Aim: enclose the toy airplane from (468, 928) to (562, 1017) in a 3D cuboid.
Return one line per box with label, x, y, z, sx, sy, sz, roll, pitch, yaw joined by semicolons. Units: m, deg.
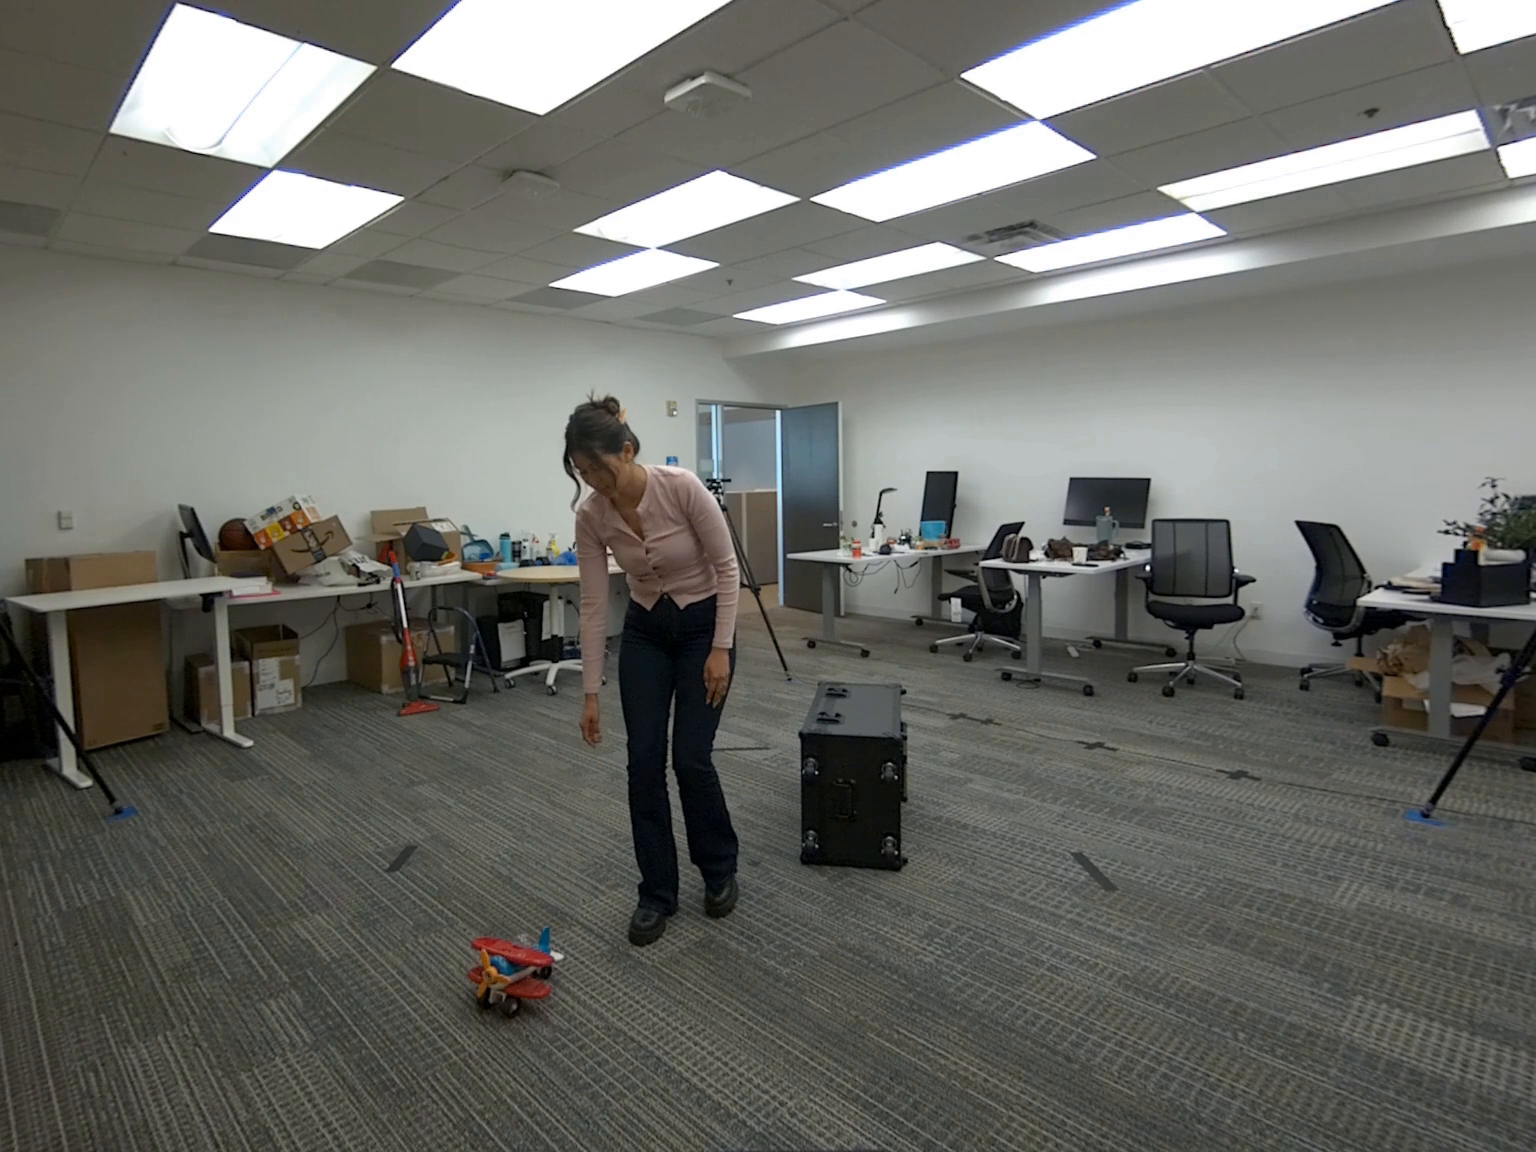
toy airplane;-0.697;1.079;2.344;0.250;0.155;0.261;-2;7;-4
